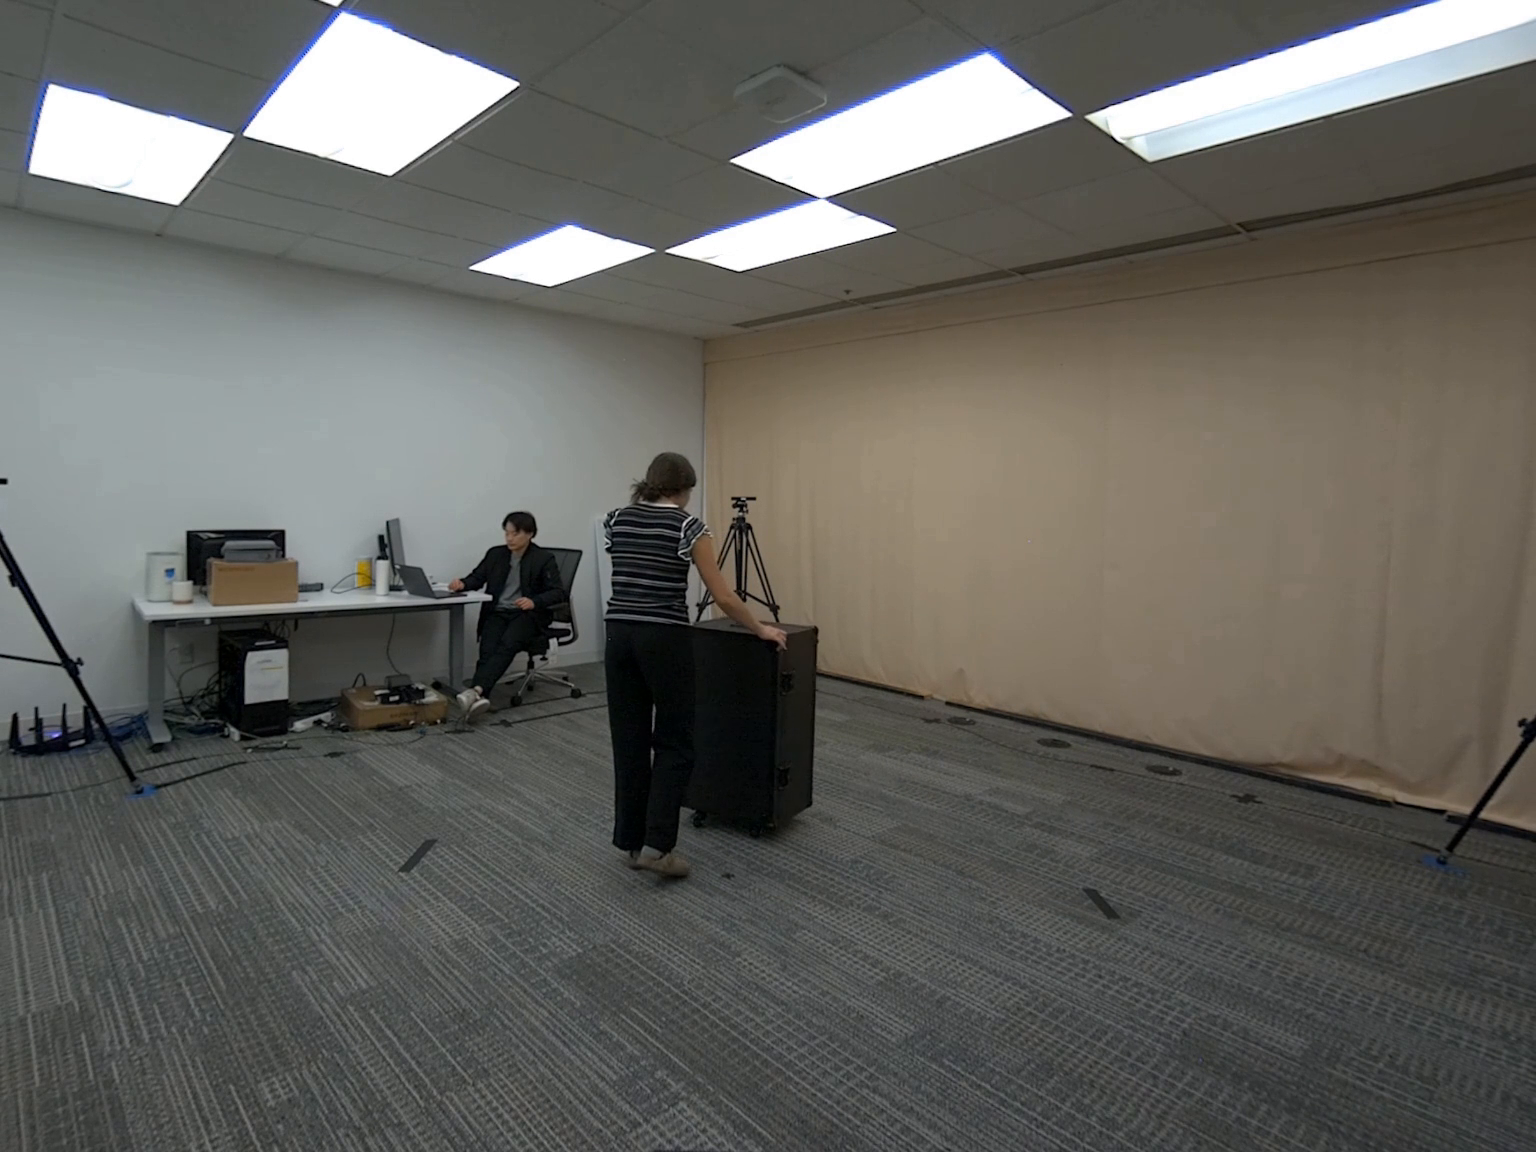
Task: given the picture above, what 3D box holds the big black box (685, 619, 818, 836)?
[{"bbox_3d":[-0.095,0.636,3.625,0.533,0.860,0.388,3,3,30],"label":"big black box"}]
